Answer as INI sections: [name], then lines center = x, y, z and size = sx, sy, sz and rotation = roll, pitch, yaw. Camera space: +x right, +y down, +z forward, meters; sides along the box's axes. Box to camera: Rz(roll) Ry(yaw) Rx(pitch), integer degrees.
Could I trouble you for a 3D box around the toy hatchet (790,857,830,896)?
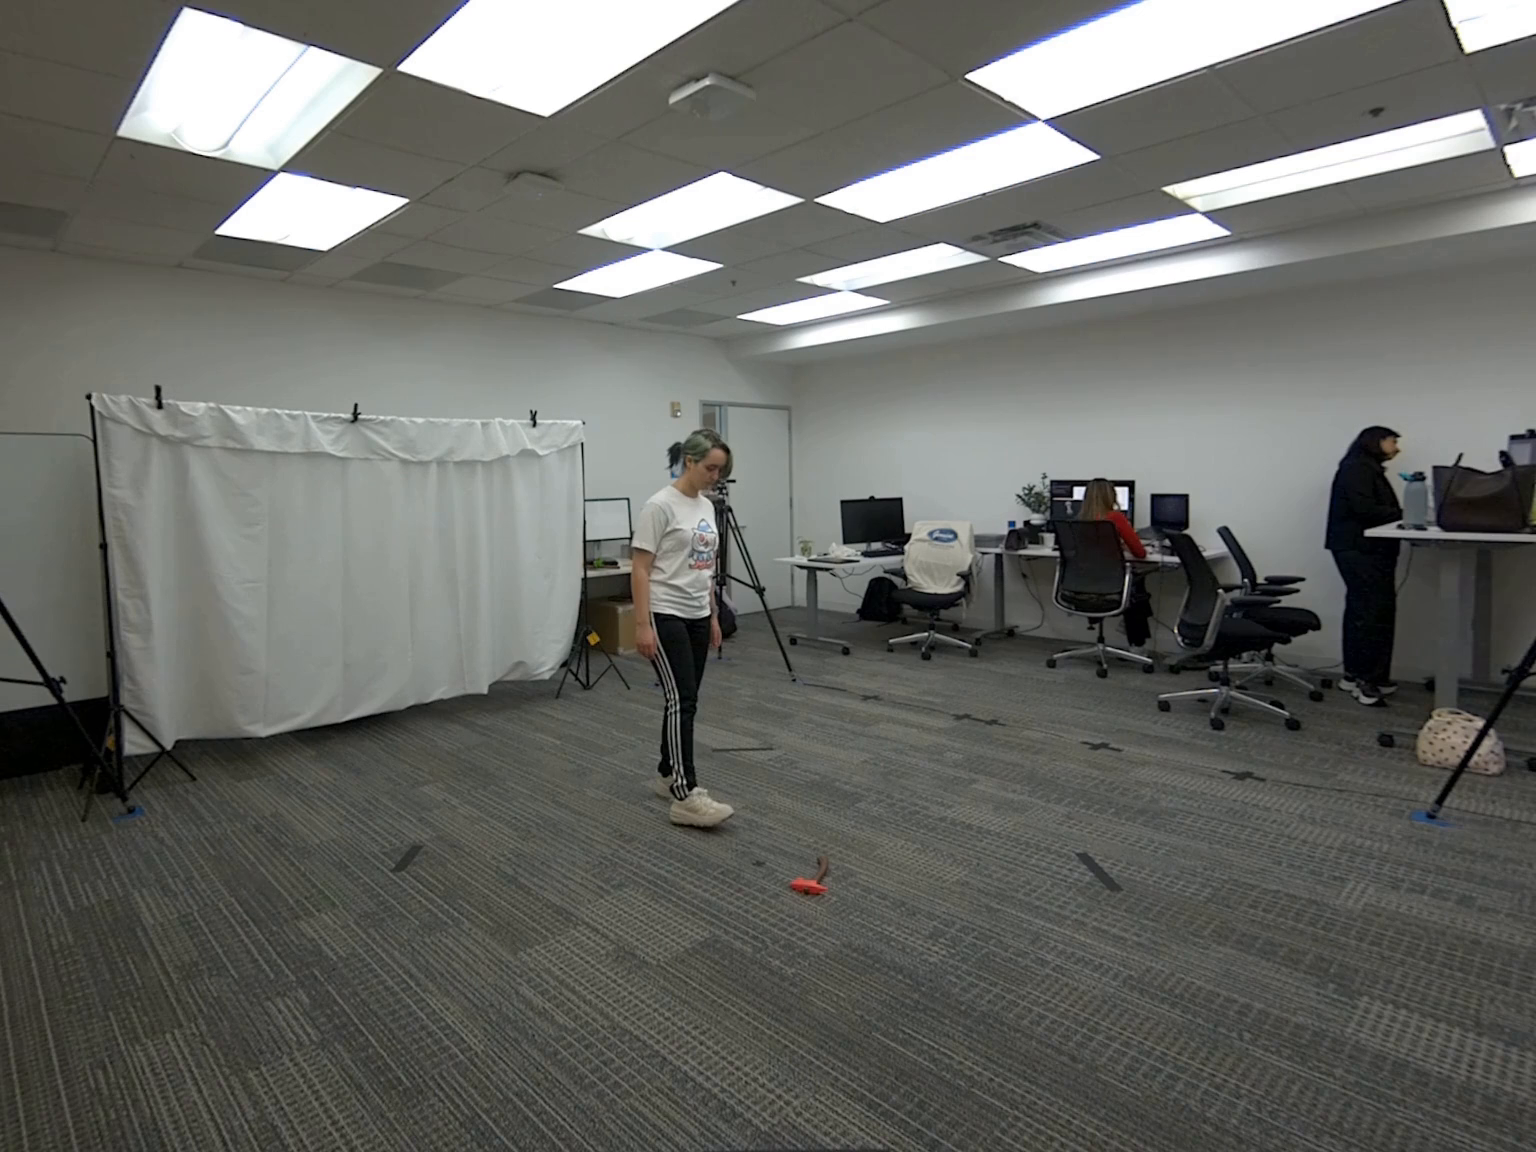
[toy hatchet]
center = 0.147, 1.048, 2.997
size = 0.132, 0.029, 0.269
rotation = -6, 3, 5
